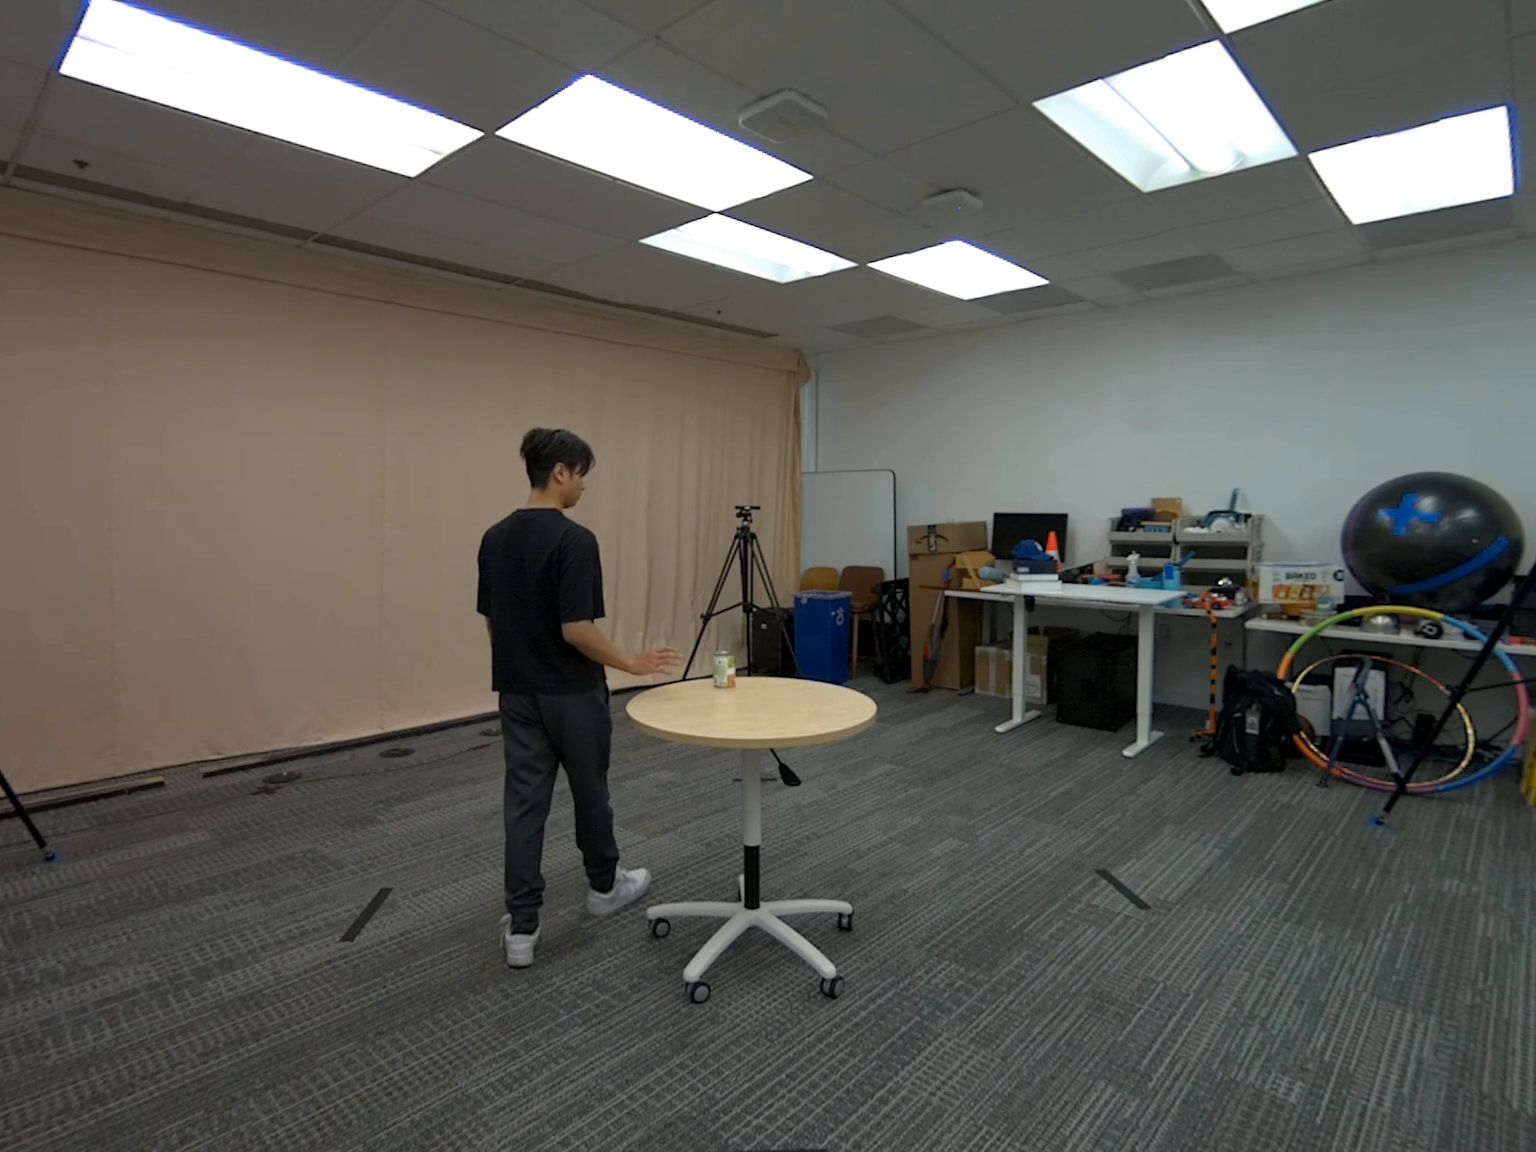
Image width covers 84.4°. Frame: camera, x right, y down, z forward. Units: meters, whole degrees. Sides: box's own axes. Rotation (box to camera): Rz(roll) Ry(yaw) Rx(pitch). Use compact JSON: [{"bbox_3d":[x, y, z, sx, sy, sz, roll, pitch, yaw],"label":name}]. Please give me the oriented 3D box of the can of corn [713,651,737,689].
[{"bbox_3d":[-0.145,0.319,2.823,0.074,0.111,0.074,-4,2,-2],"label":"can of corn"}]
